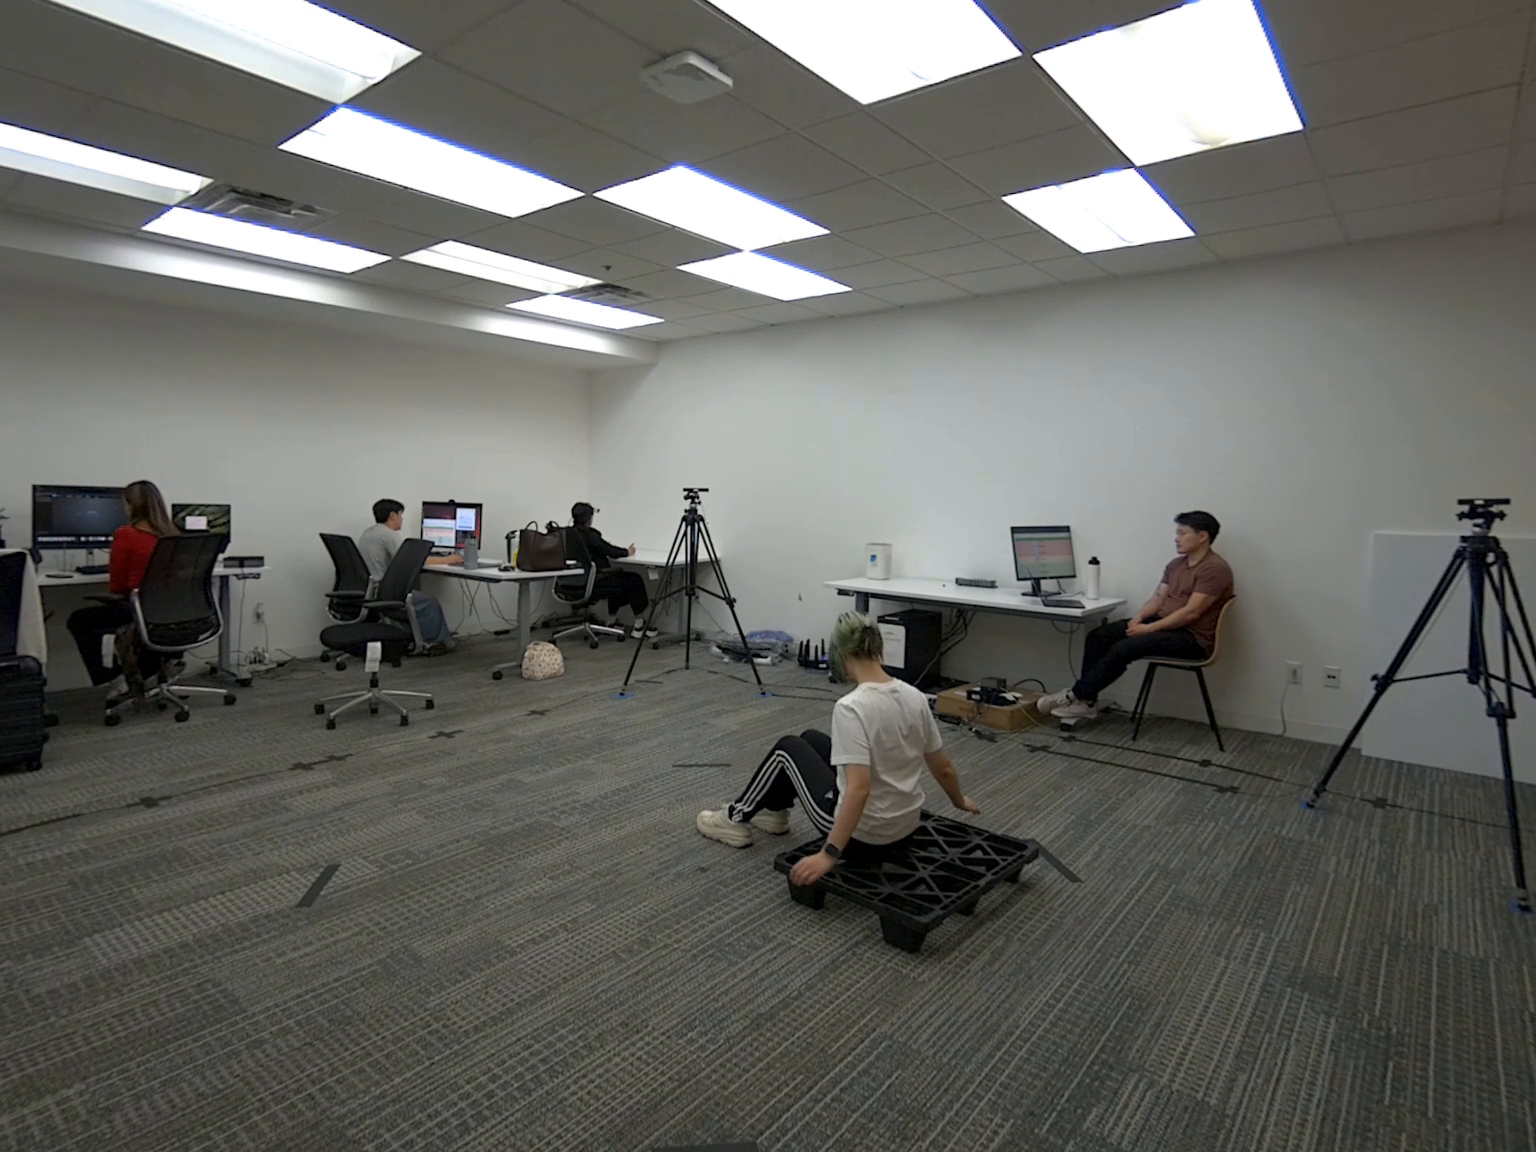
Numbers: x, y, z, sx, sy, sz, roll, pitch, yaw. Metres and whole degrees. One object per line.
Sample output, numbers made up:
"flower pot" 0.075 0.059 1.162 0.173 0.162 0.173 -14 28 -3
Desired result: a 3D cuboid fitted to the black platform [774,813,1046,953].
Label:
"black platform" 0.485 1.029 2.985 0.626 0.143 0.781 6 7 42
